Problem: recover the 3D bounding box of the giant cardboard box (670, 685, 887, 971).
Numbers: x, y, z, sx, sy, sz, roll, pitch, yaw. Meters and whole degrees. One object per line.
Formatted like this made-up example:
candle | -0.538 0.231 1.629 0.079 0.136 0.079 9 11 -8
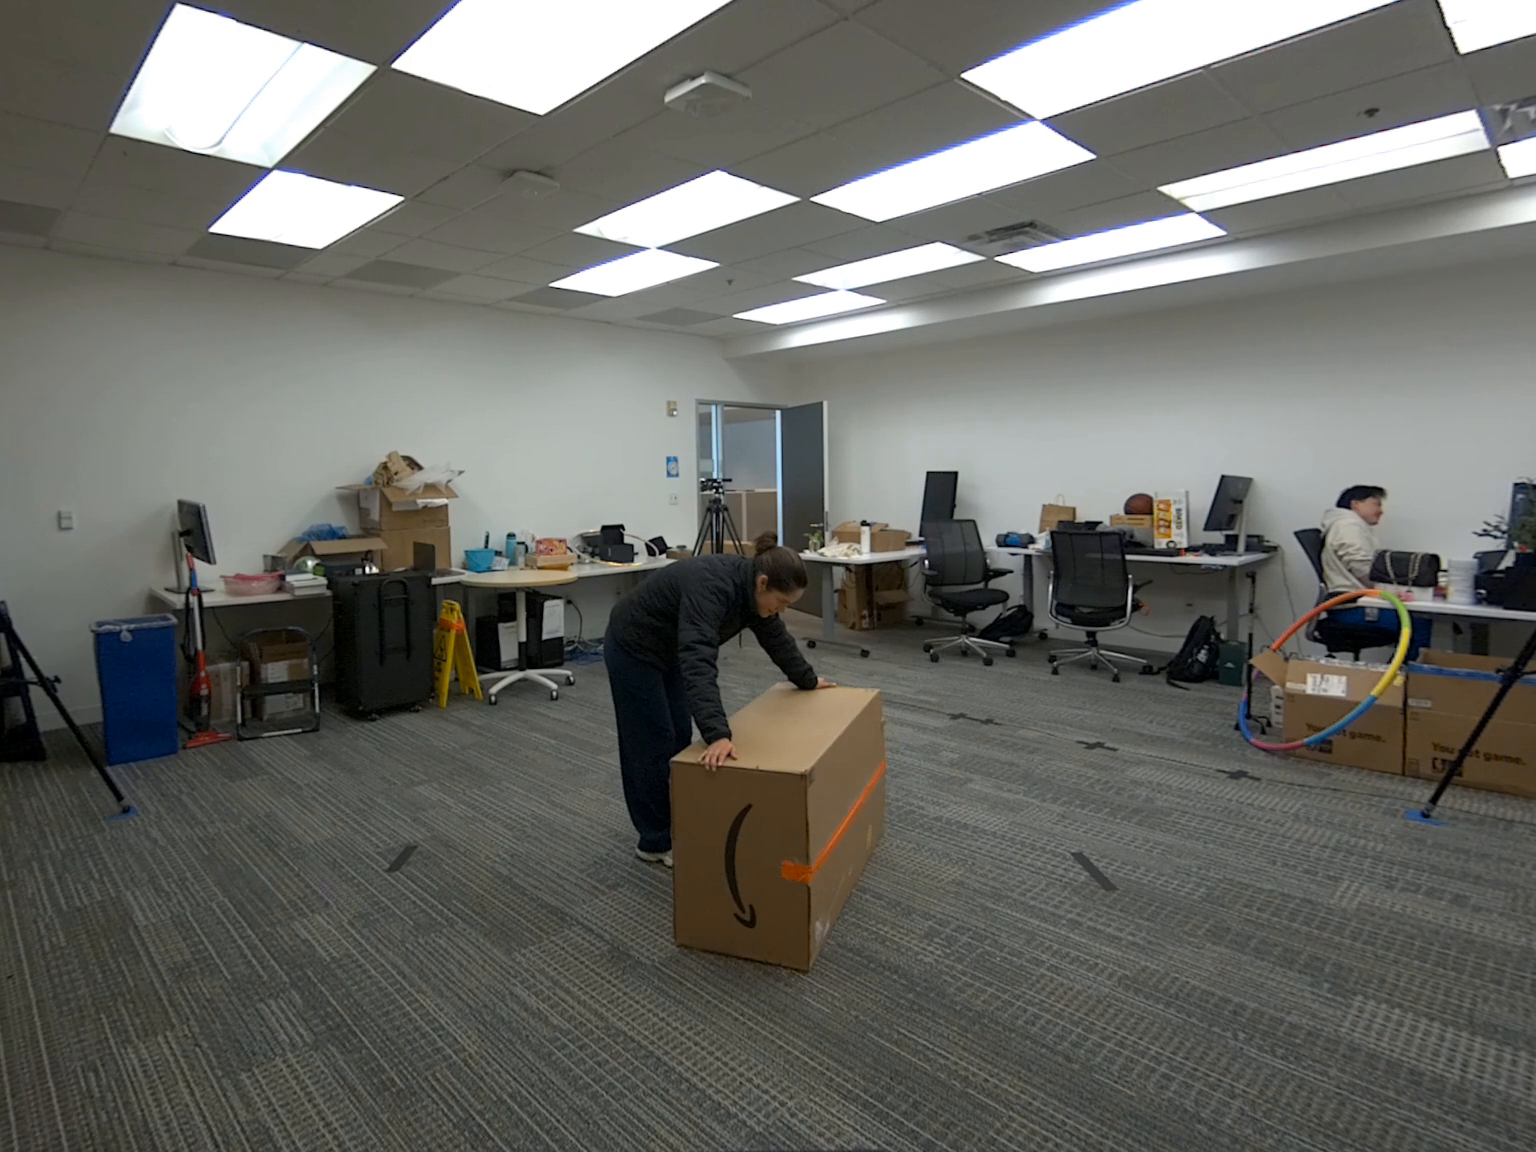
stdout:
giant cardboard box | 0.080 0.775 2.949 0.455 0.582 1.011 -1 5 20
